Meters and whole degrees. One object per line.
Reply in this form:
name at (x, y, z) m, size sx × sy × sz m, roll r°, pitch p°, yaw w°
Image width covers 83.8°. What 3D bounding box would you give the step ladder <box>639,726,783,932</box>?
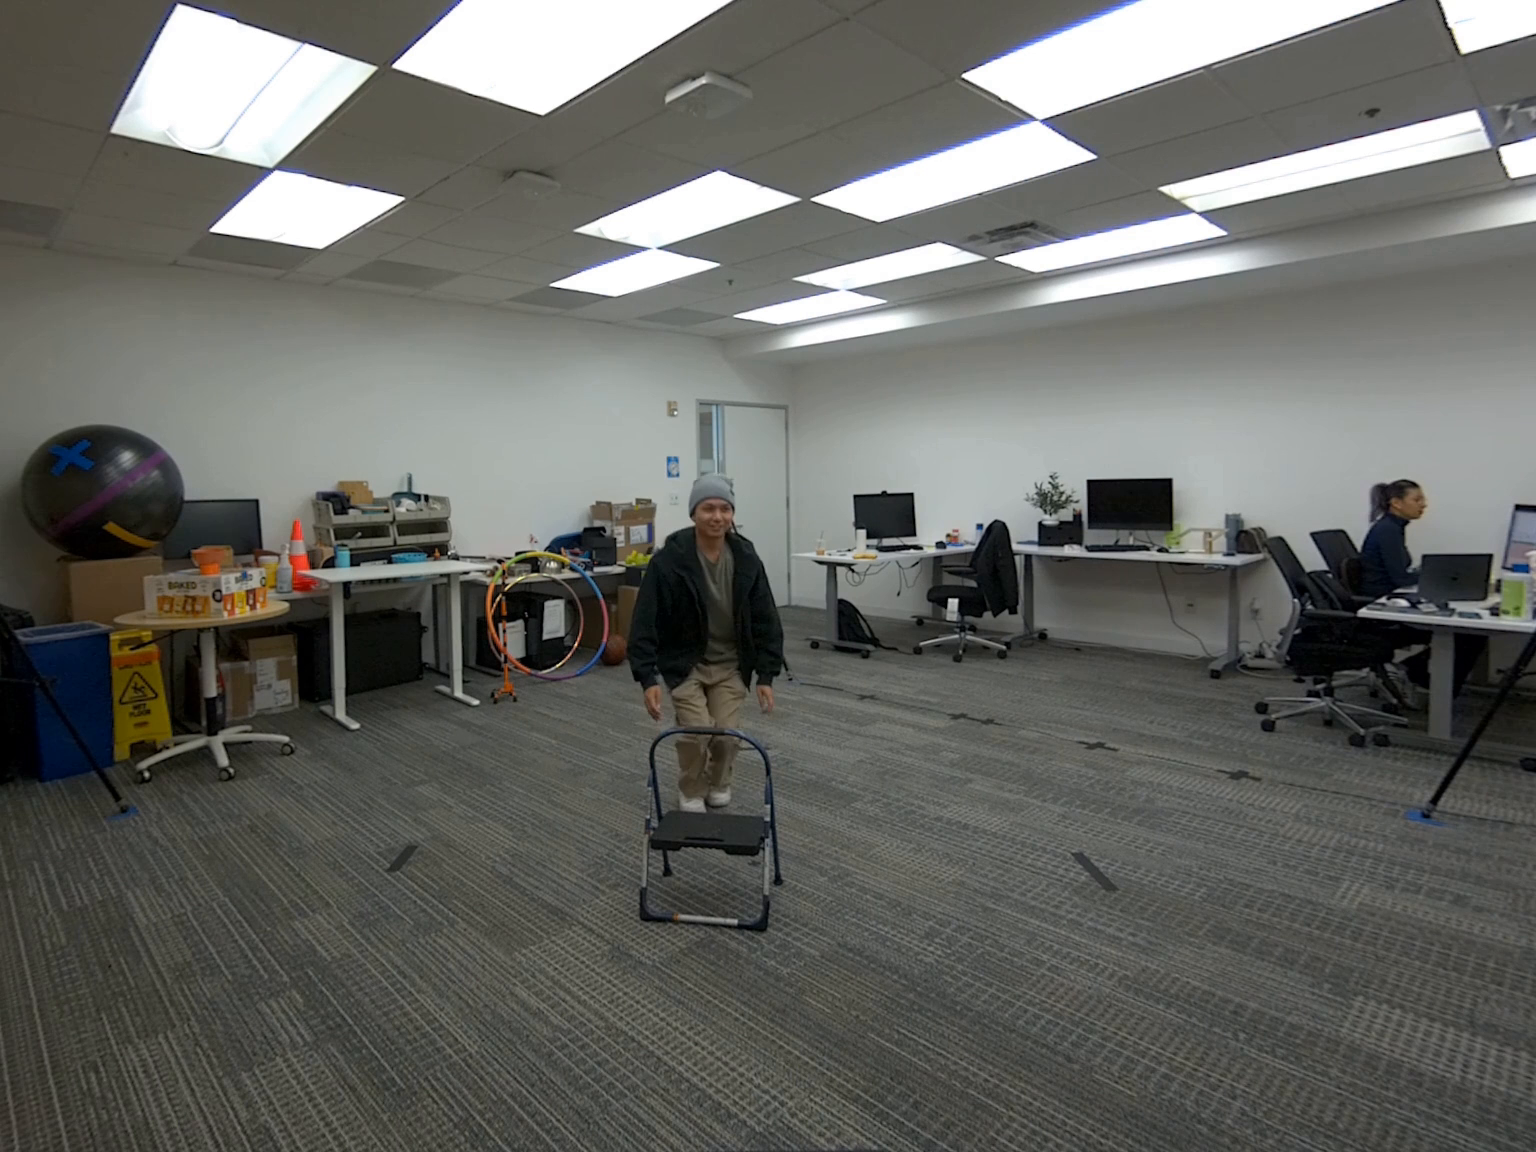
step ladder at (-0.184, 0.781, 2.822) m, size 0.435 × 0.604 × 0.347 m, roll 1°, pitch 4°, yaw 10°
